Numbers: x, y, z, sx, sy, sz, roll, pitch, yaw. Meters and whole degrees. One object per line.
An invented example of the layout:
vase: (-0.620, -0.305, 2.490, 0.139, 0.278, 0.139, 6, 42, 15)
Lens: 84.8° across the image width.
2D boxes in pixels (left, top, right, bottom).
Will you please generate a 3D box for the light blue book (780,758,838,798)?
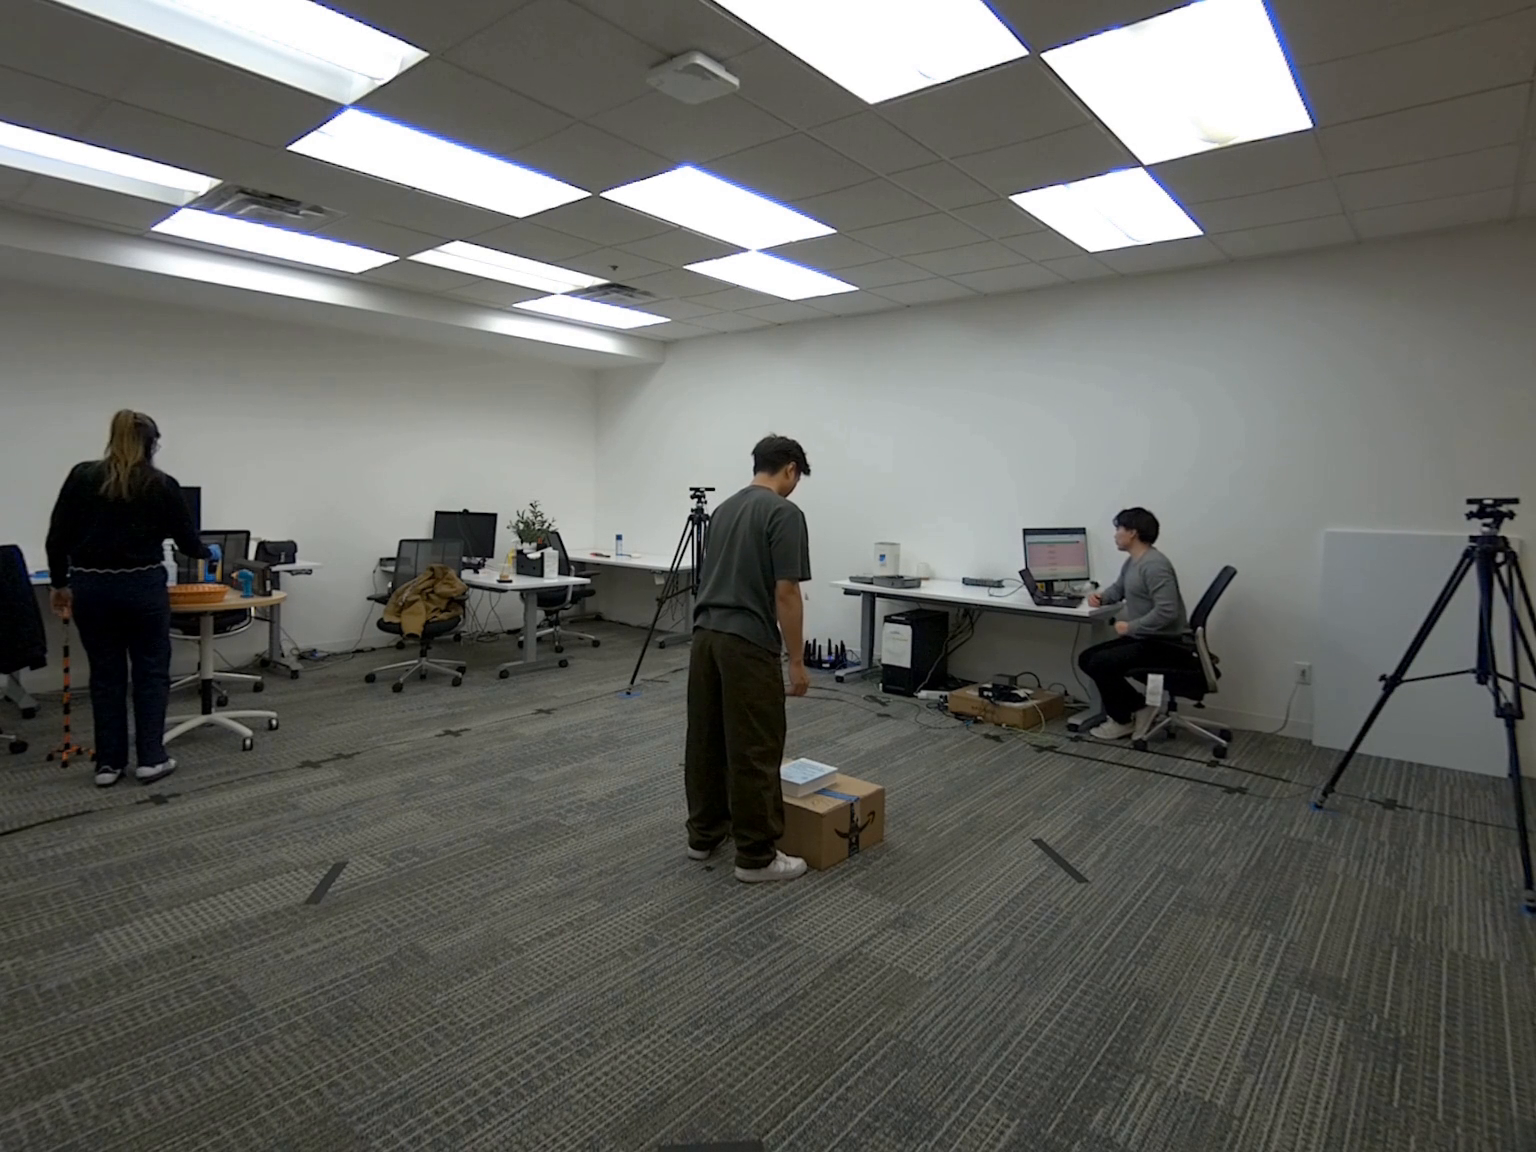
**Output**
light blue book: (0.120, 0.802, 3.419, 0.198, 0.059, 0.253, 7, 8, 40)
